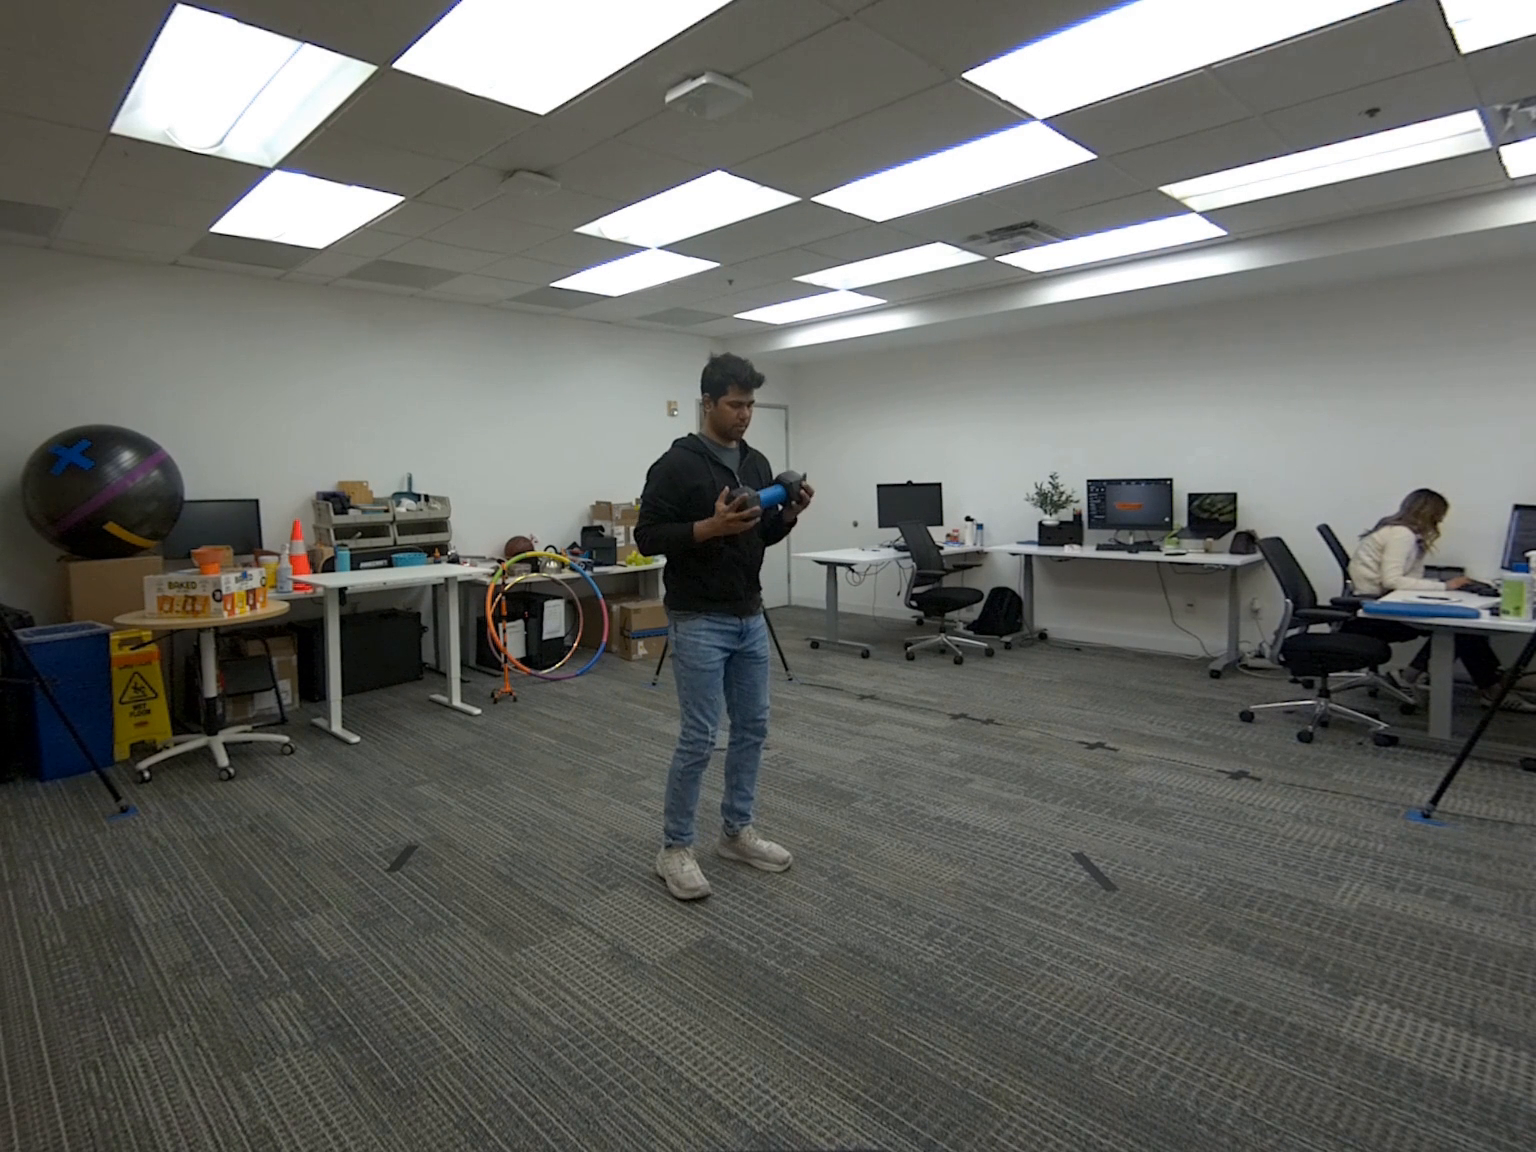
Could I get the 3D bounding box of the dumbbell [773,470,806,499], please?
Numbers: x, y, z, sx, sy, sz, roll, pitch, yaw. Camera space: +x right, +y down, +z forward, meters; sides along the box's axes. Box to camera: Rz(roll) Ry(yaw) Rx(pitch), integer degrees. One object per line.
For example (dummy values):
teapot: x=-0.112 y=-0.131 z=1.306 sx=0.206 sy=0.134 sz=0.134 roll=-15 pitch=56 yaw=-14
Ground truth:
dumbbell: x=-0.030 y=-0.246 z=2.820 sx=0.288 sy=0.111 sz=0.123 roll=-20 pitch=-17 yaw=-40
